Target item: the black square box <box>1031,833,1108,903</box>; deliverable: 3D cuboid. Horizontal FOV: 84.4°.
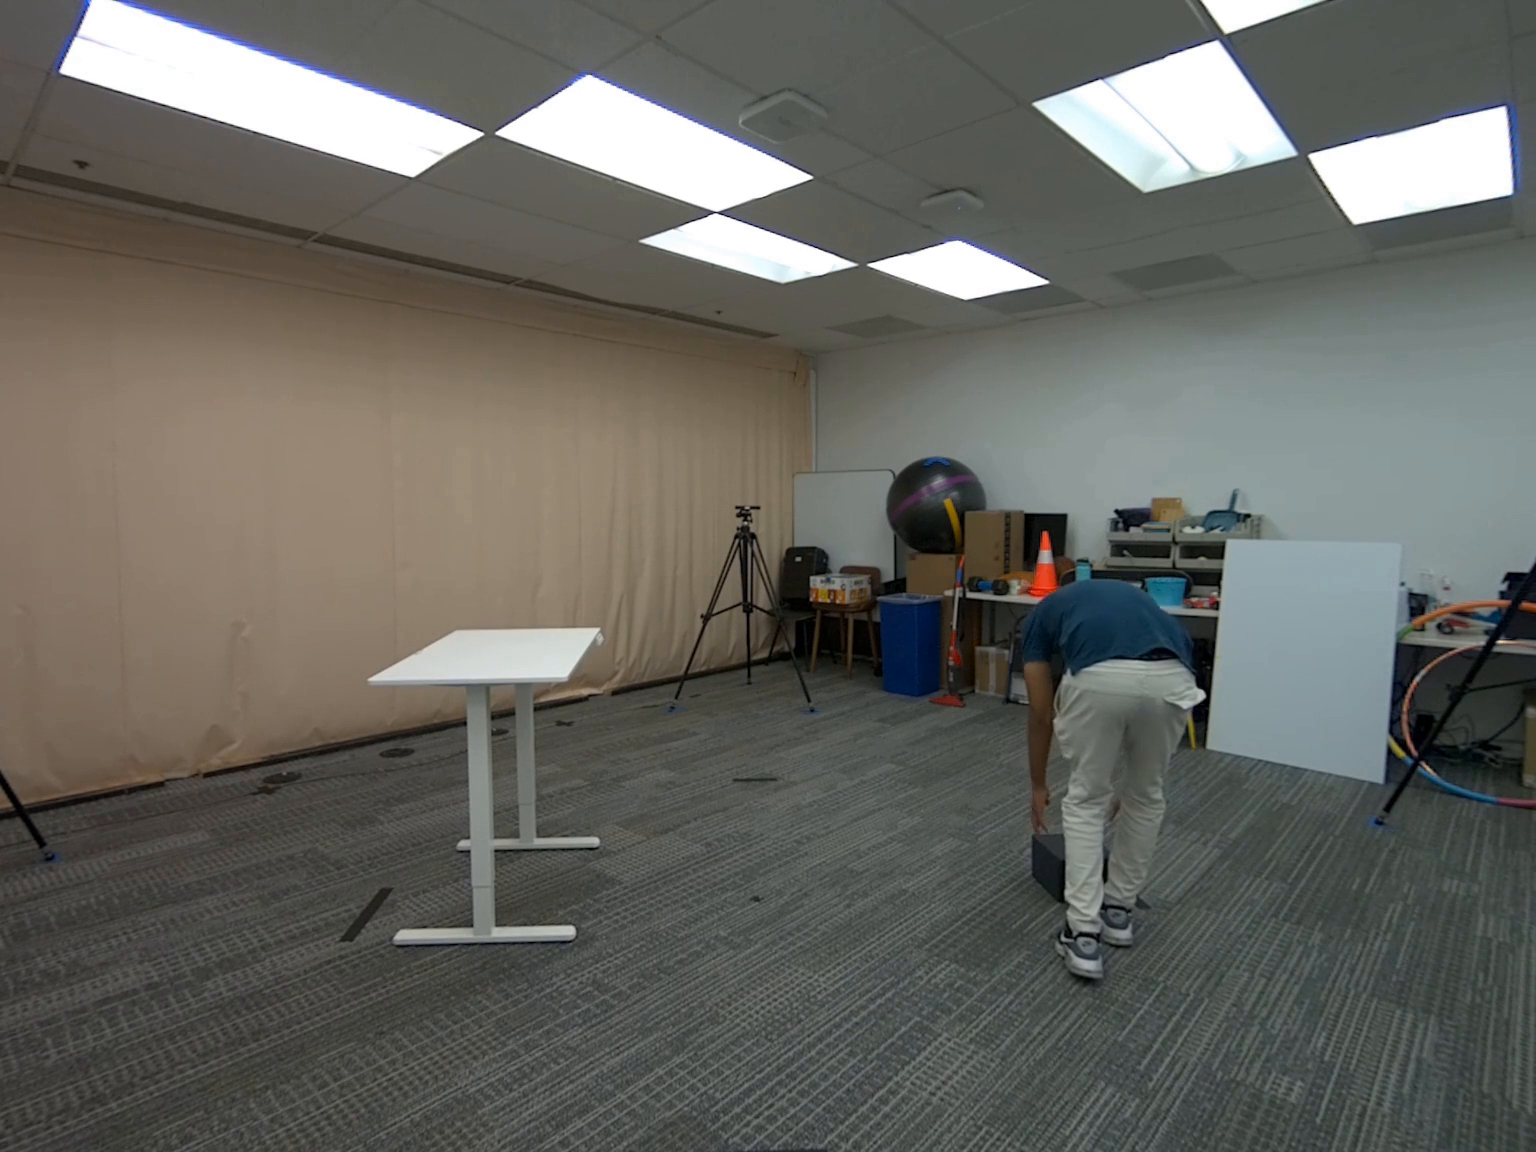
[{"bbox_3d":[1.116,1.053,3.057,0.216,0.155,0.229,-1,4,-5],"label":"black square box"}]
